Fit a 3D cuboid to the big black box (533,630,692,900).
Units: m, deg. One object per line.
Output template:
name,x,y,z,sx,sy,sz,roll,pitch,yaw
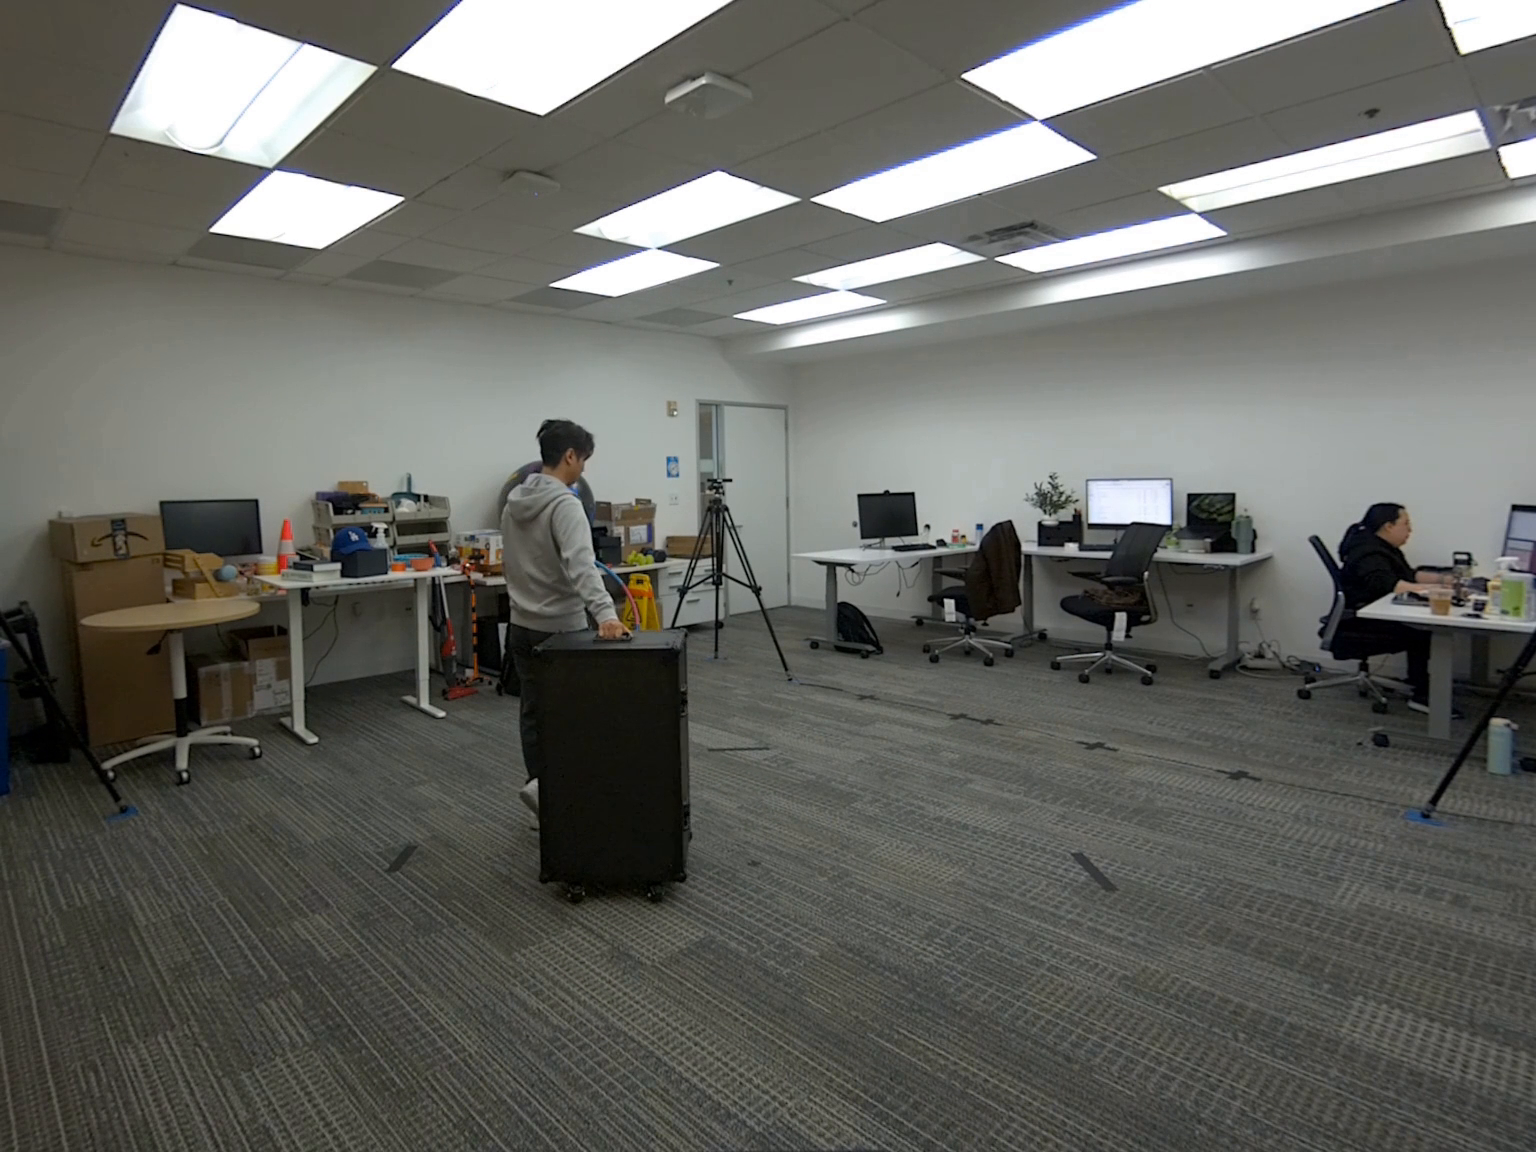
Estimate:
big black box,-0.529,0.643,2.991,0.522,0.860,0.396,-2,2,1
